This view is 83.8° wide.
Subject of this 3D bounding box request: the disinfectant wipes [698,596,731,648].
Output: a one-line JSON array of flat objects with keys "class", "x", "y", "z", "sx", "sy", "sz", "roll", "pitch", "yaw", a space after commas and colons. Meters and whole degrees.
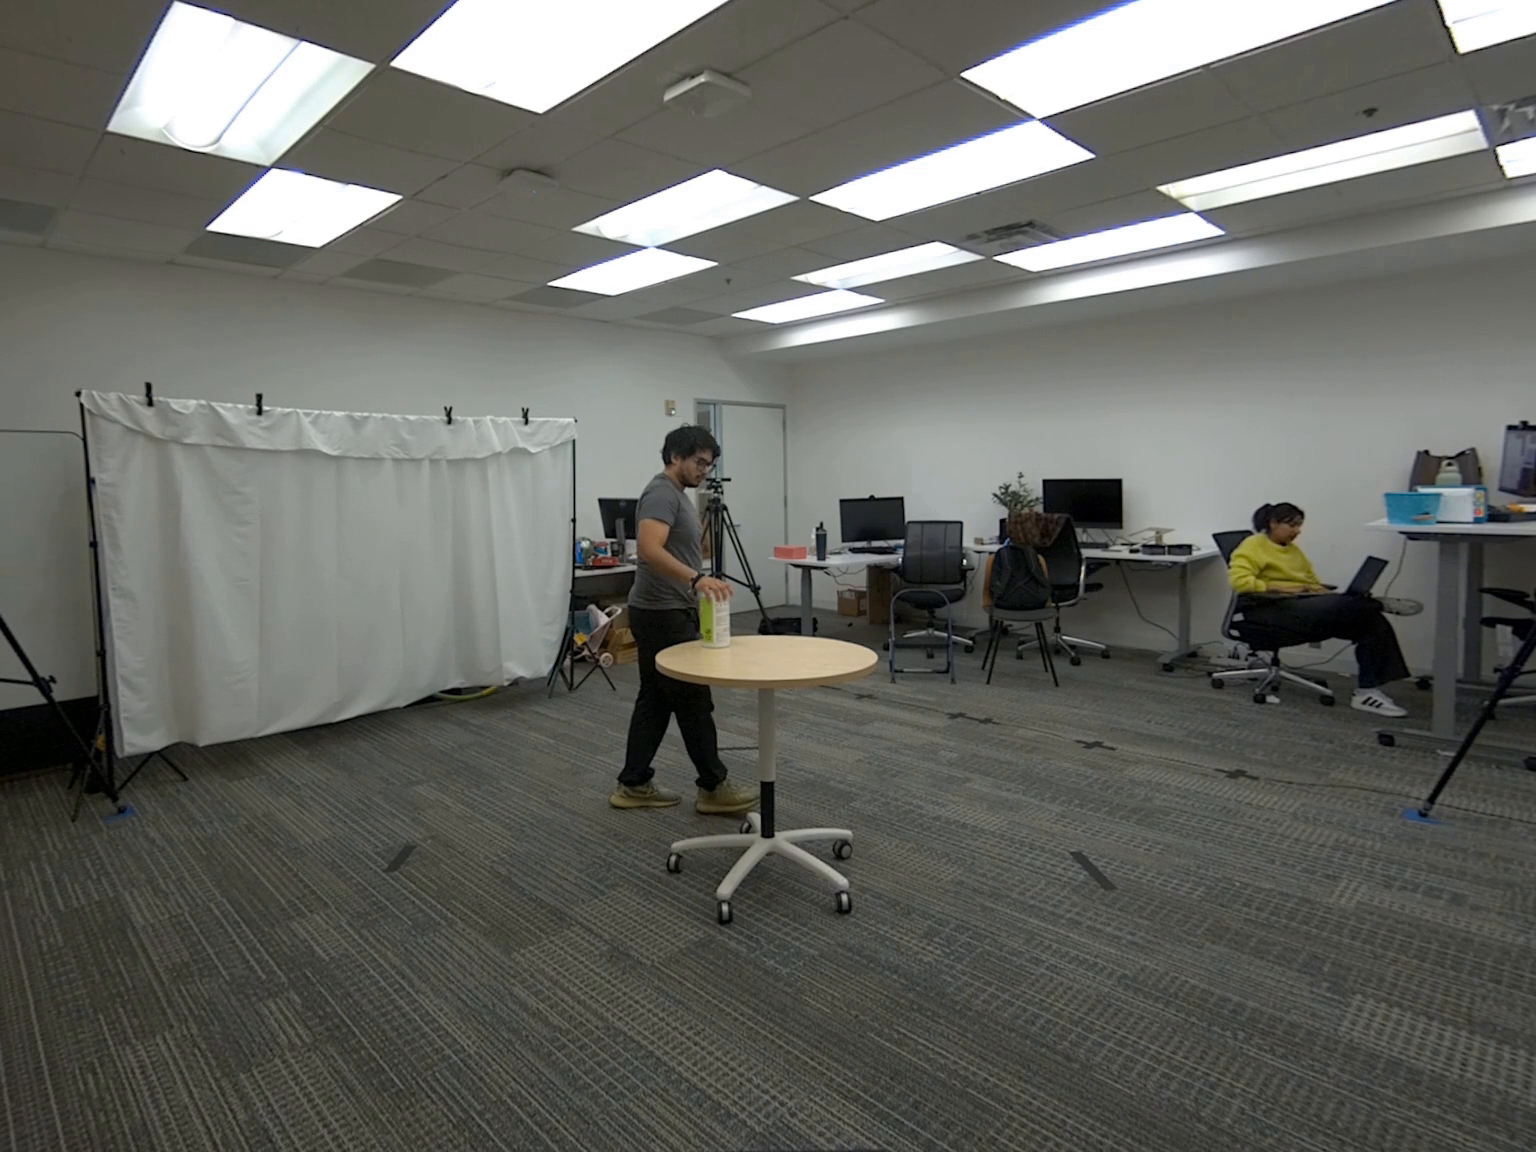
[{"class": "disinfectant wipes", "x": -0.190, "y": 0.153, "z": 3.142, "sx": 0.118, "sy": 0.217, "sz": 0.118, "roll": -4, "pitch": 2, "yaw": -1}]
